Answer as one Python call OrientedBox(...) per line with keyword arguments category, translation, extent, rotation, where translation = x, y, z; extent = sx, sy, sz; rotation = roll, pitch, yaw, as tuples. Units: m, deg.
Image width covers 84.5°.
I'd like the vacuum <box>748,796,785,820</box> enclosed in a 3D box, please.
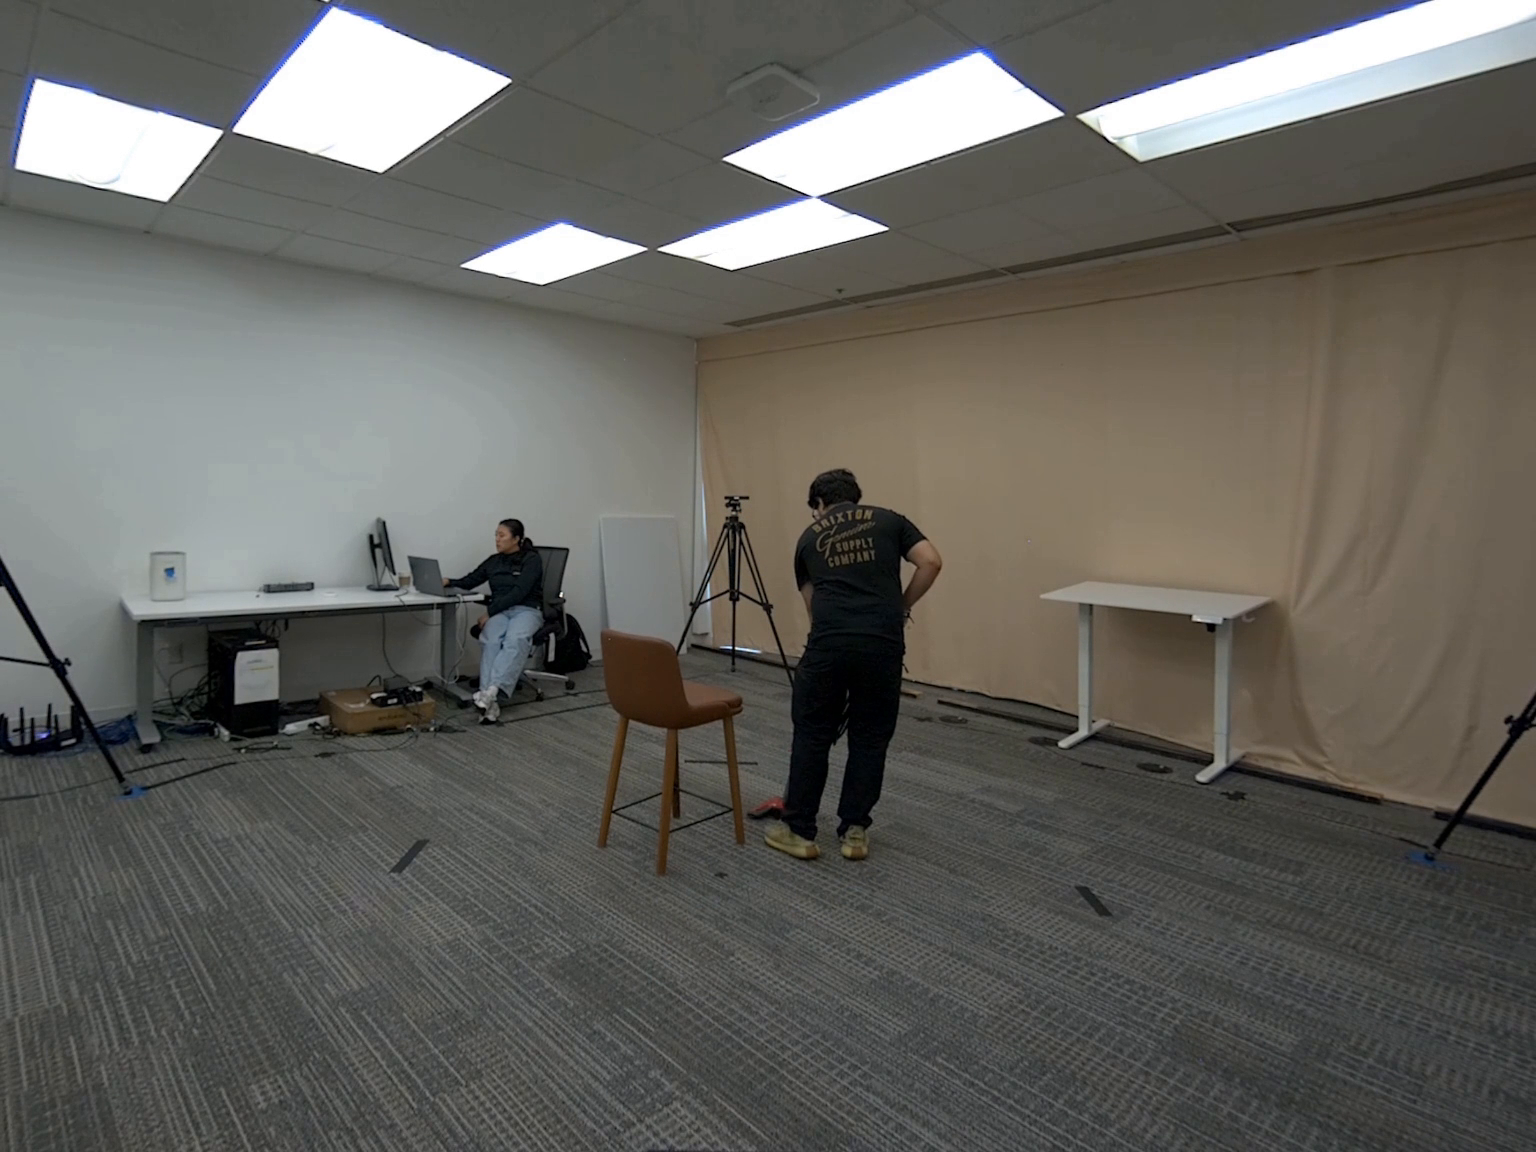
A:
OrientedBox(category="vacuum", translation=(0.256, 0.620, 3.588), extent=(0.147, 1.044, 0.248), rotation=(37, 20, 23))
